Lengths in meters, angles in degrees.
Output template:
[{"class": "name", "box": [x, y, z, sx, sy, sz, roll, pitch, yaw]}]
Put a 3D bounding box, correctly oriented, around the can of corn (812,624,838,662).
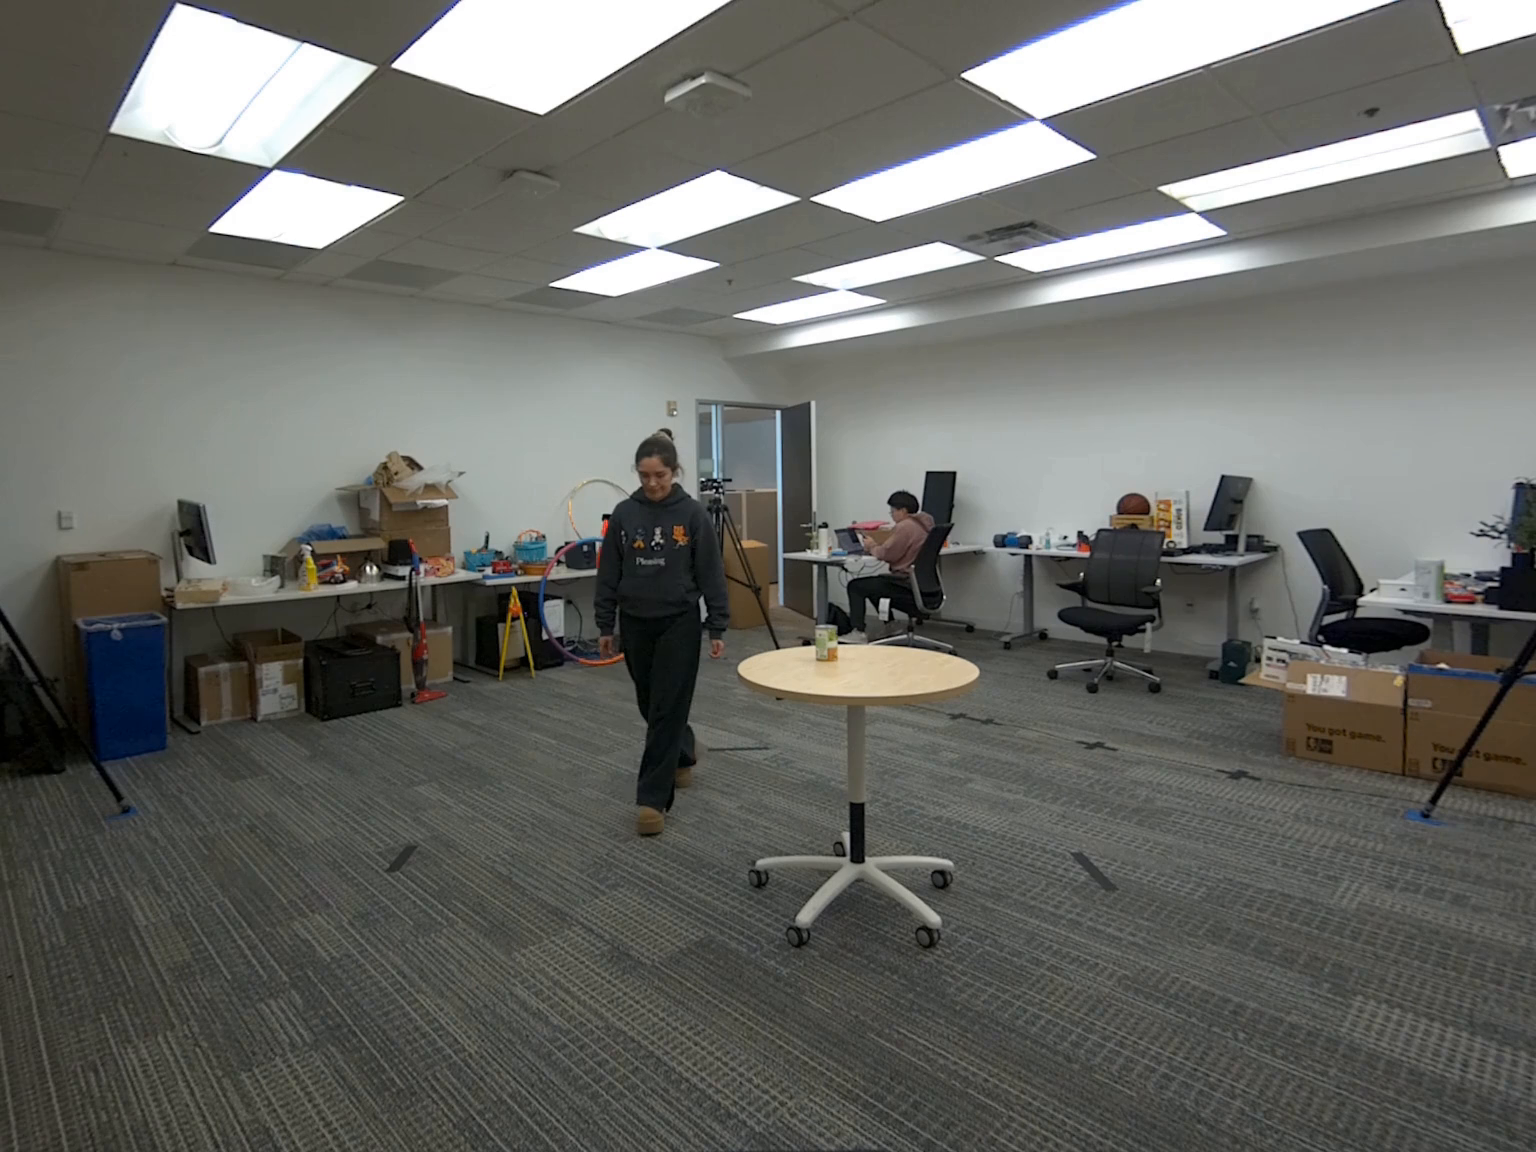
[{"class": "can of corn", "box": [0.200, 0.227, 2.872, 0.074, 0.110, 0.074, -4, 4, -1]}]
